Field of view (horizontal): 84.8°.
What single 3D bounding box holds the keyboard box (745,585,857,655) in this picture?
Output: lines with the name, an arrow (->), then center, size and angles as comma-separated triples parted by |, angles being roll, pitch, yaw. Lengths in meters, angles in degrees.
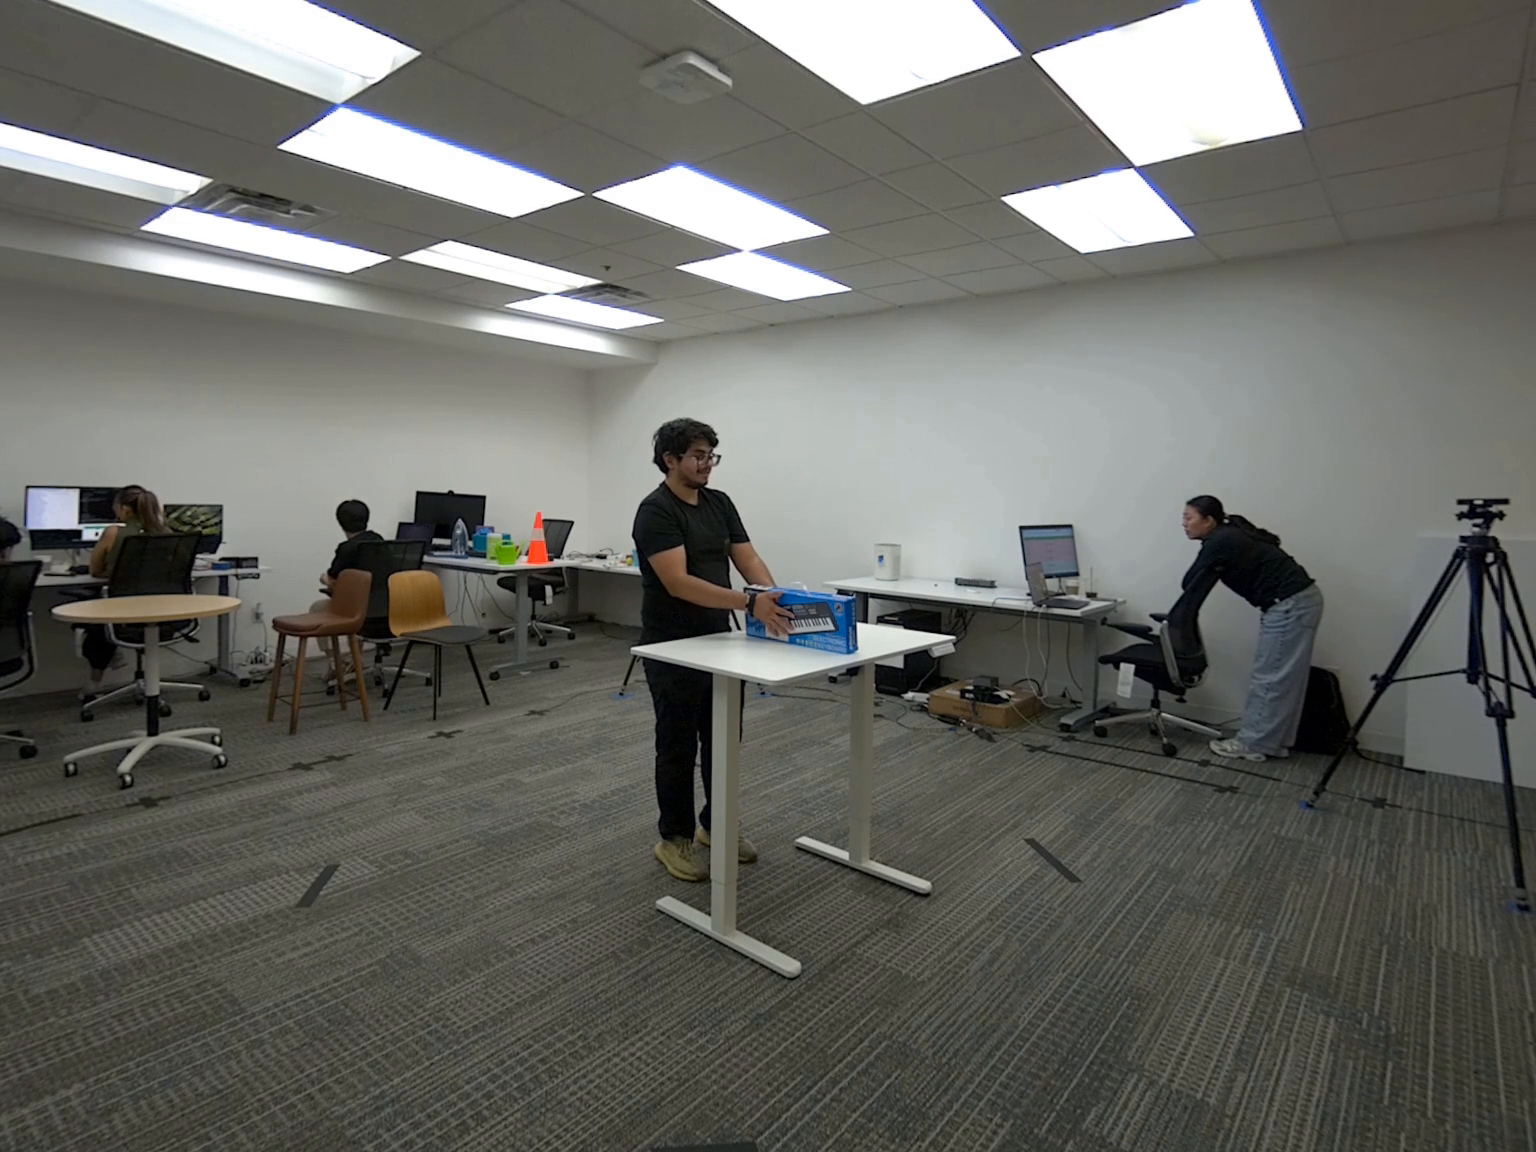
keyboard box -> 0.094, 0.138, 2.801 | 0.452, 0.174, 0.057 | 6, 12, 44
